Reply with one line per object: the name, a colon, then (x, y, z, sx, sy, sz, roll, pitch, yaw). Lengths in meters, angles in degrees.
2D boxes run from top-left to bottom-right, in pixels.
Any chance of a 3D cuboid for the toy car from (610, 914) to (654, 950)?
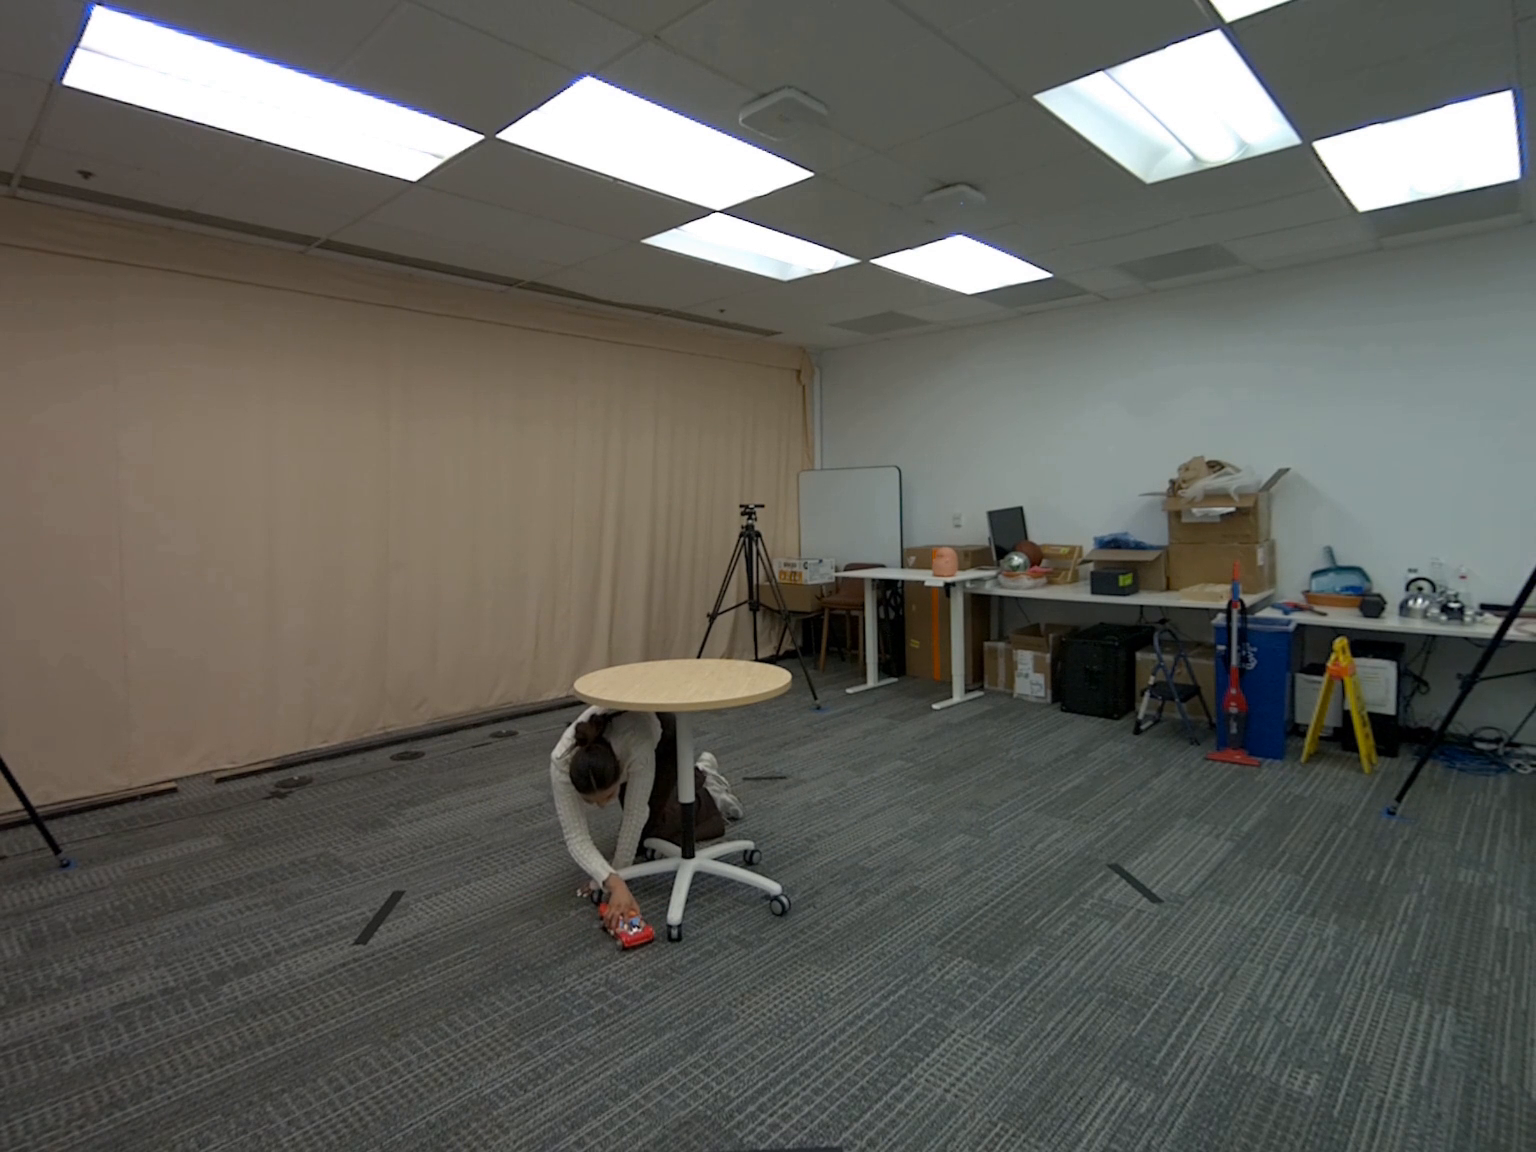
toy car: (-0.469, 1.132, 2.764, 0.127, 0.082, 0.263, -7, 17, -29)
